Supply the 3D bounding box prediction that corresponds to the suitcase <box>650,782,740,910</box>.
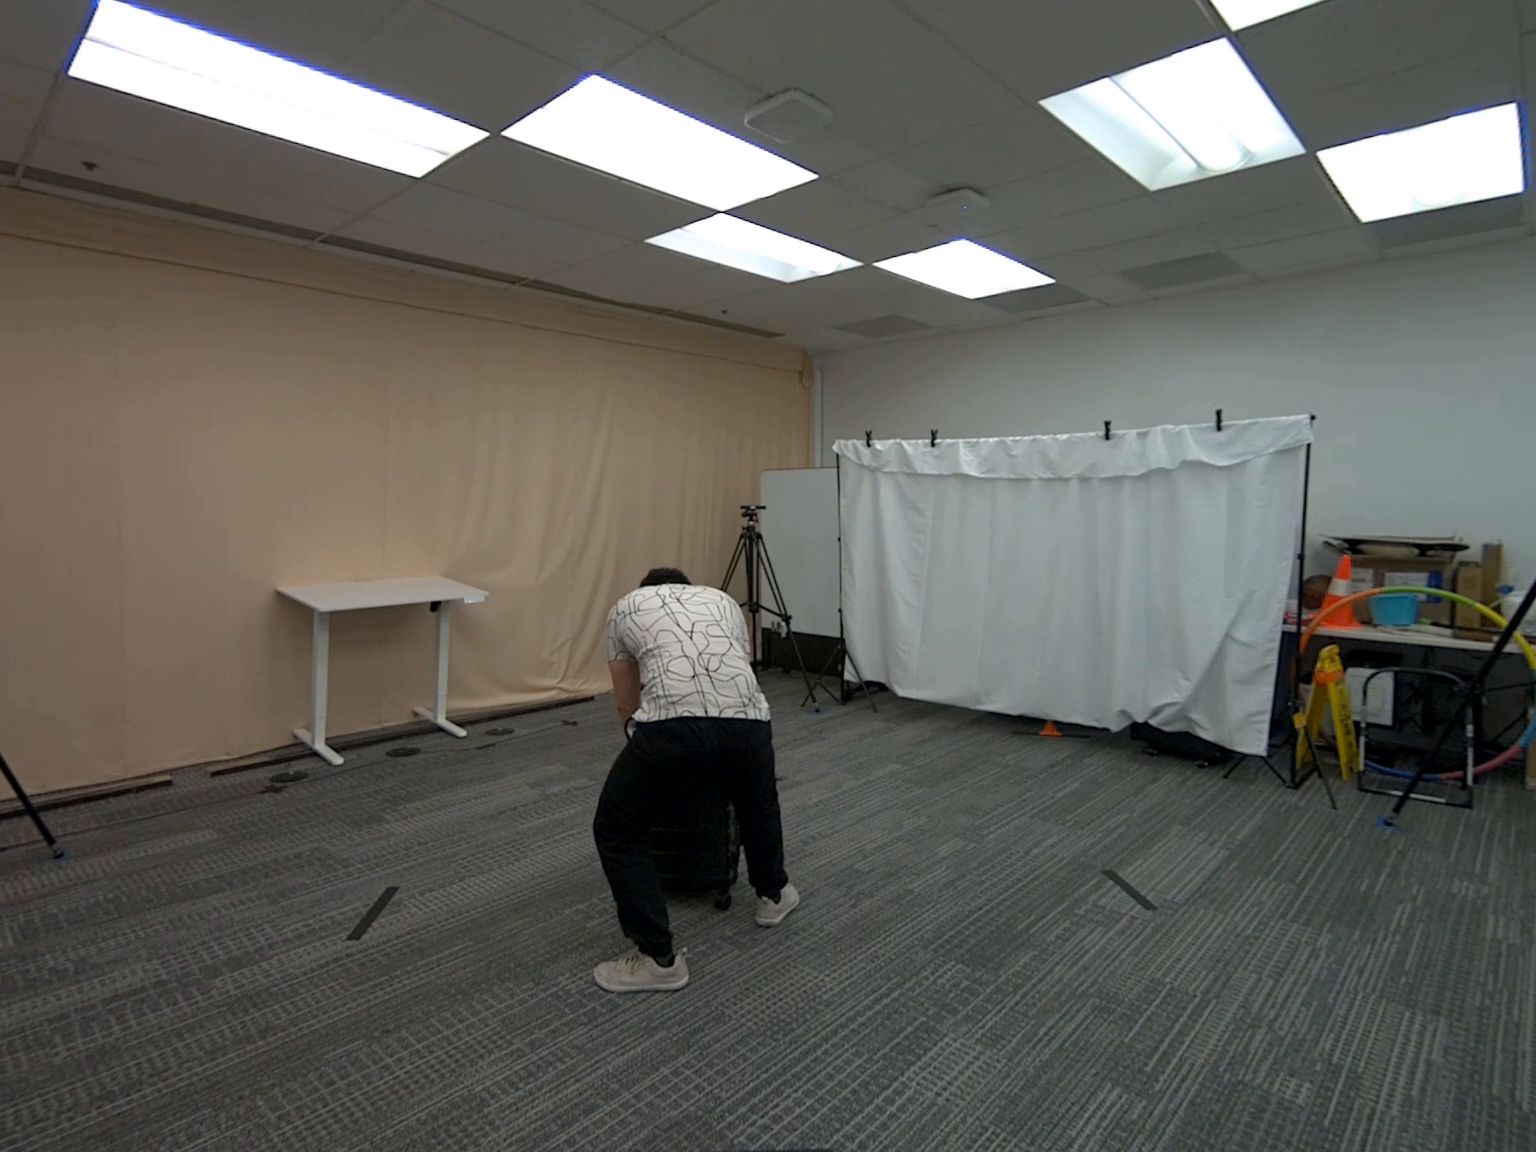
[{"bbox_3d":[-0.291,0.861,3.035,0.379,0.548,0.246,1,3,8],"label":"suitcase"}]
